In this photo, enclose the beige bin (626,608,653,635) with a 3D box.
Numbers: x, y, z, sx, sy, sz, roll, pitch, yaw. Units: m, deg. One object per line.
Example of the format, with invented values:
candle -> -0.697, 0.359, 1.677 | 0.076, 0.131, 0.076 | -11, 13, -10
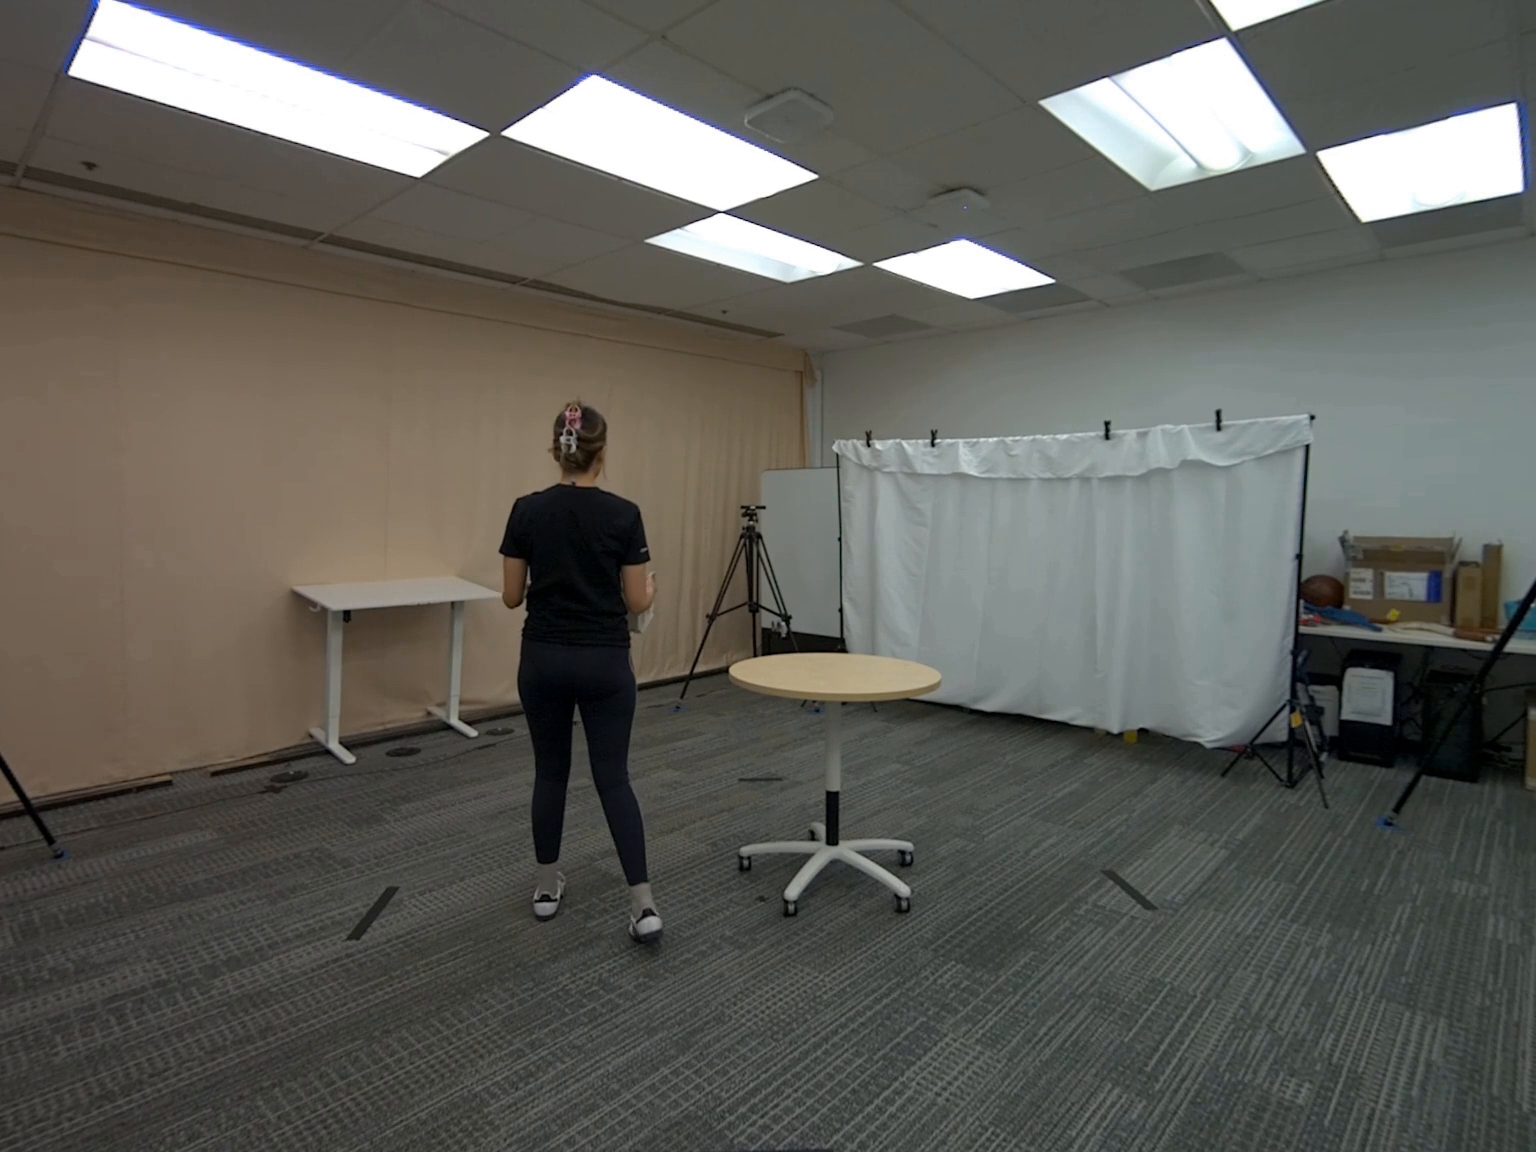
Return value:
beige bin -> -0.656, 0.096, 3.217 | 0.424, 0.188, 0.378 | 0, 10, 3
